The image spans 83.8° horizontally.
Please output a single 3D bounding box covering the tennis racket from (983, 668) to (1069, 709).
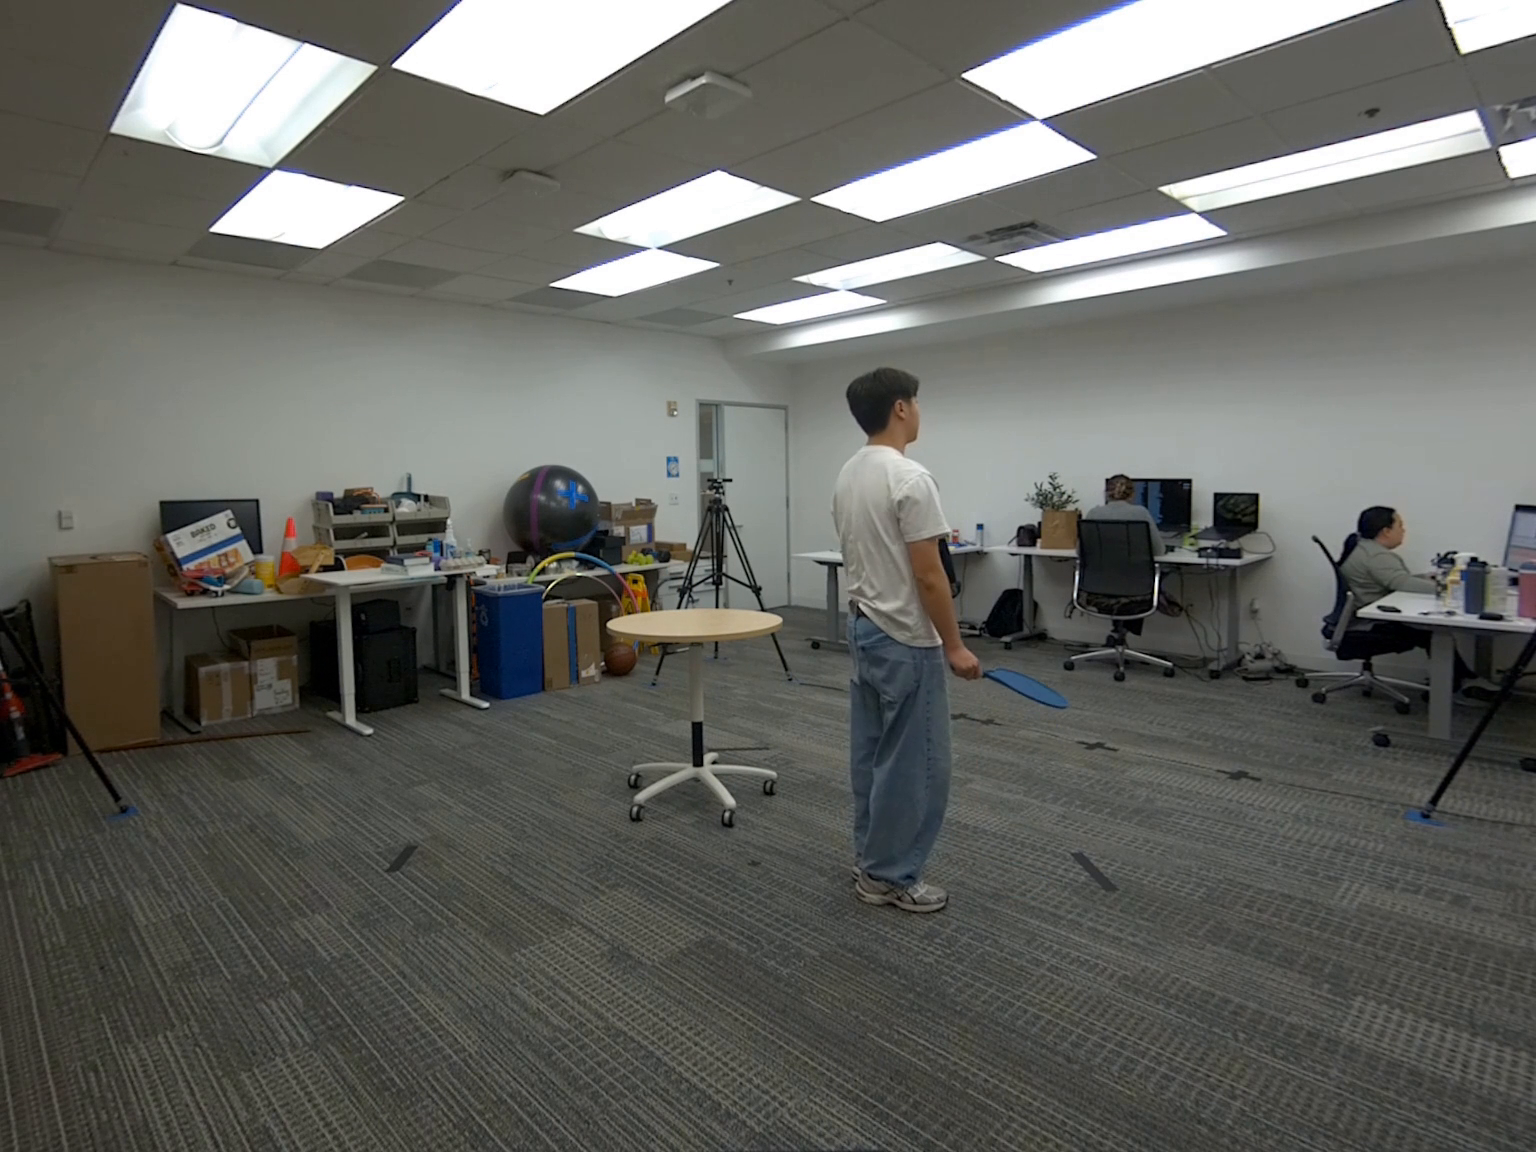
[{"bbox_3d":[0.791,0.340,2.718,0.424,0.031,0.220,17,15,-19],"label":"tennis racket"}]
